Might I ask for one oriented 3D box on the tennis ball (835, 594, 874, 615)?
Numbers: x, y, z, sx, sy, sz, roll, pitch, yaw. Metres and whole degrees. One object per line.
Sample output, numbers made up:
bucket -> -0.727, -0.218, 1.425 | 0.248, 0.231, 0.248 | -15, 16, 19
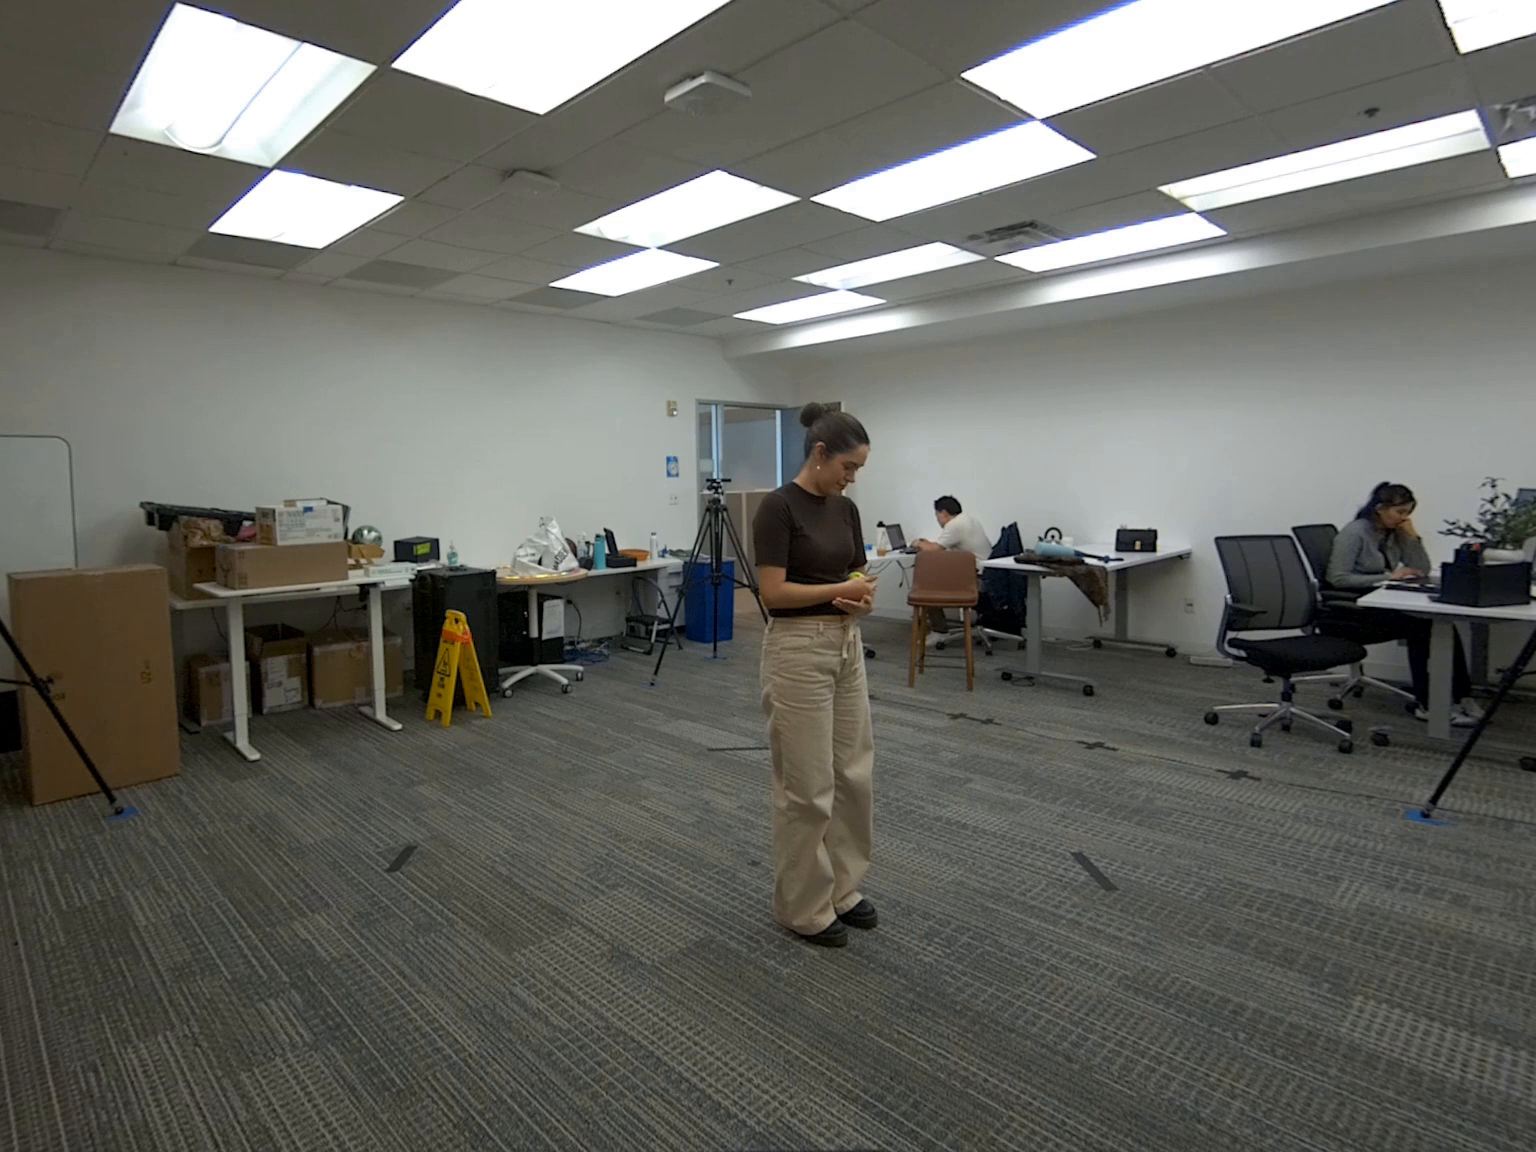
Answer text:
tennis ball -> 0.264, 0.059, 2.566 | 0.066, 0.066, 0.067 | -1, 5, -2
